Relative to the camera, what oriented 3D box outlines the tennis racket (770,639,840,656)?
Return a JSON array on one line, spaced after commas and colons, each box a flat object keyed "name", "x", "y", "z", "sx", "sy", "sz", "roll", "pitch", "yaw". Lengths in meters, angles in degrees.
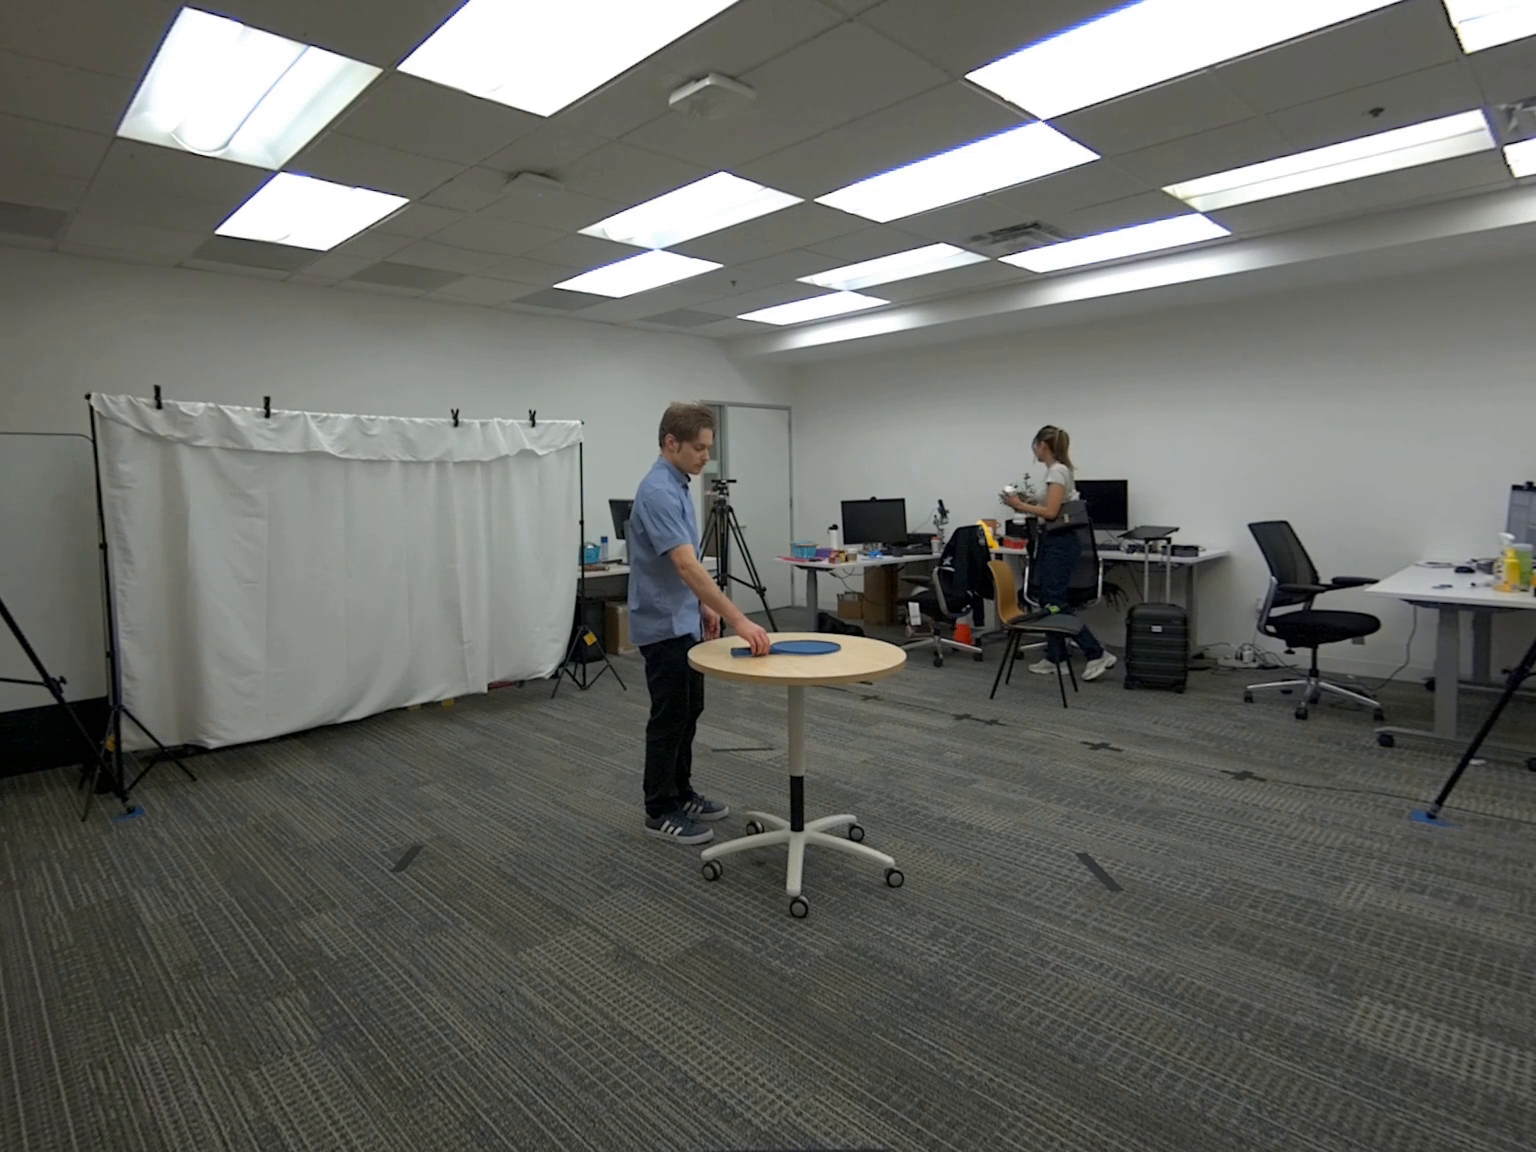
[{"name": "tennis racket", "x": 0.066, "y": 0.259, "z": 3.037, "sx": 0.423, "sy": 0.031, "sz": 0.219, "roll": -2, "pitch": 7, "yaw": -26}]
